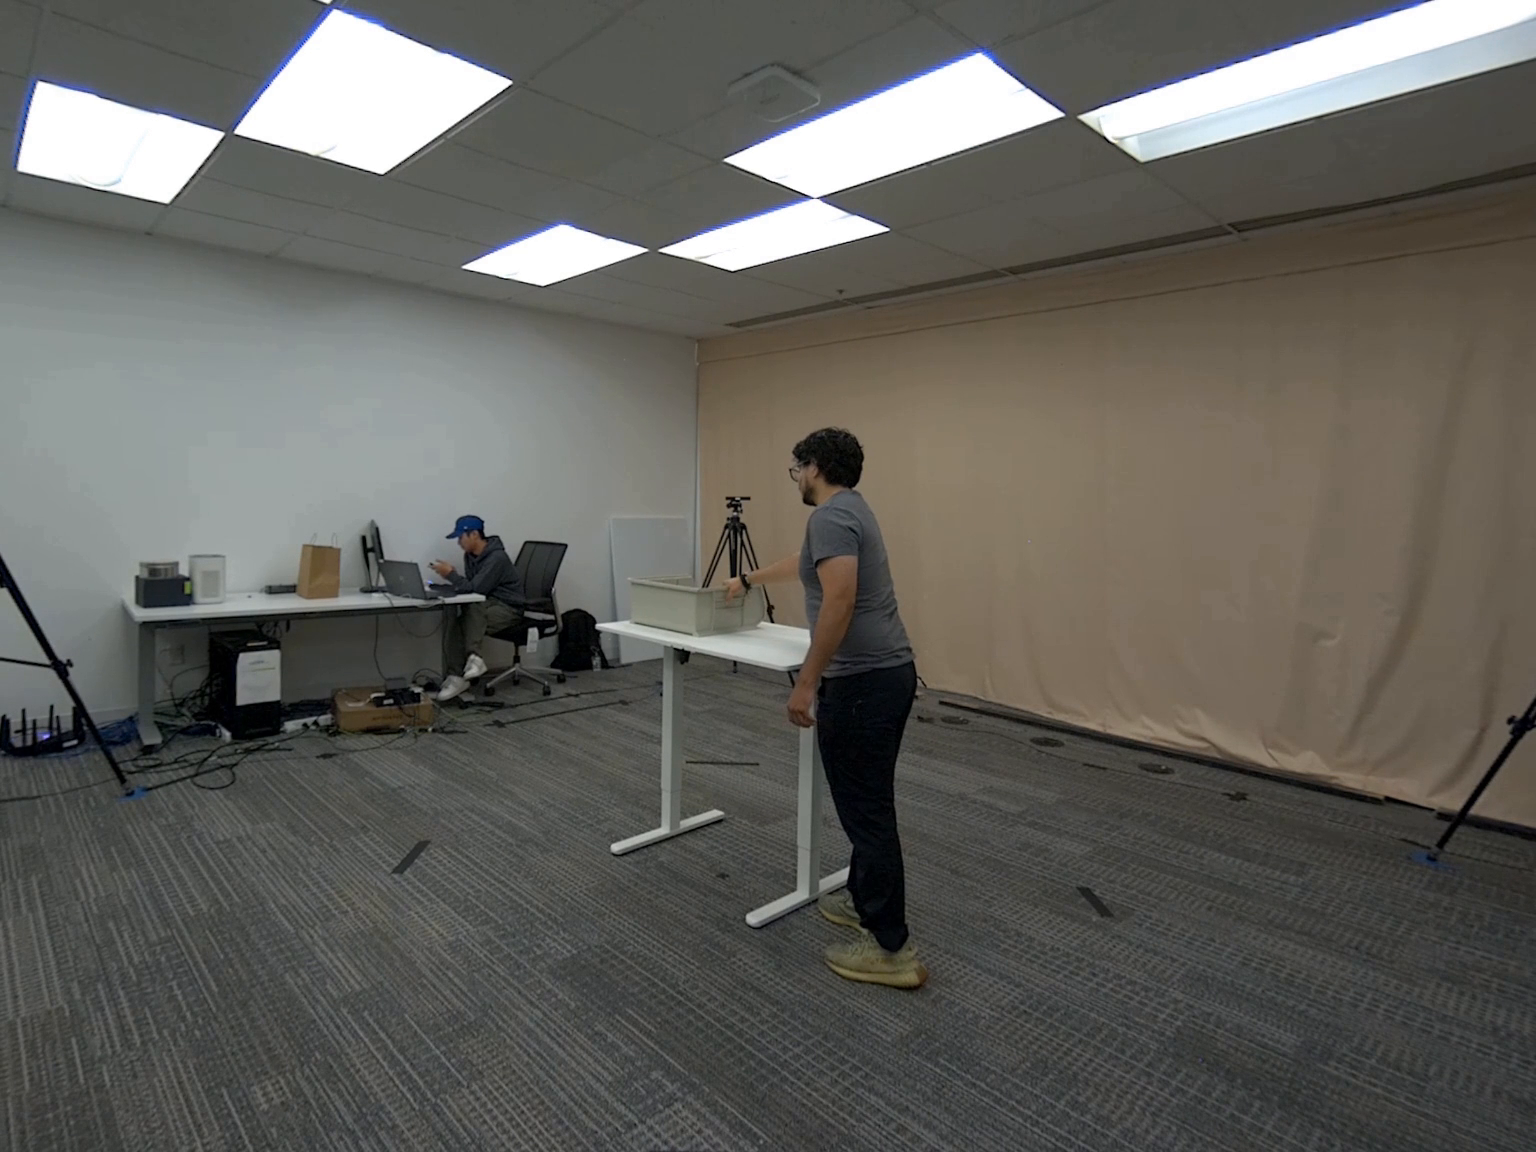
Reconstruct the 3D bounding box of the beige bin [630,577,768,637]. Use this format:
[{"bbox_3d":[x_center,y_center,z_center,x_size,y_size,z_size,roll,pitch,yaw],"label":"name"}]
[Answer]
[{"bbox_3d":[-0.288,0.110,3.333,0.369,0.188,0.433,-6,9,-44],"label":"beige bin"}]
